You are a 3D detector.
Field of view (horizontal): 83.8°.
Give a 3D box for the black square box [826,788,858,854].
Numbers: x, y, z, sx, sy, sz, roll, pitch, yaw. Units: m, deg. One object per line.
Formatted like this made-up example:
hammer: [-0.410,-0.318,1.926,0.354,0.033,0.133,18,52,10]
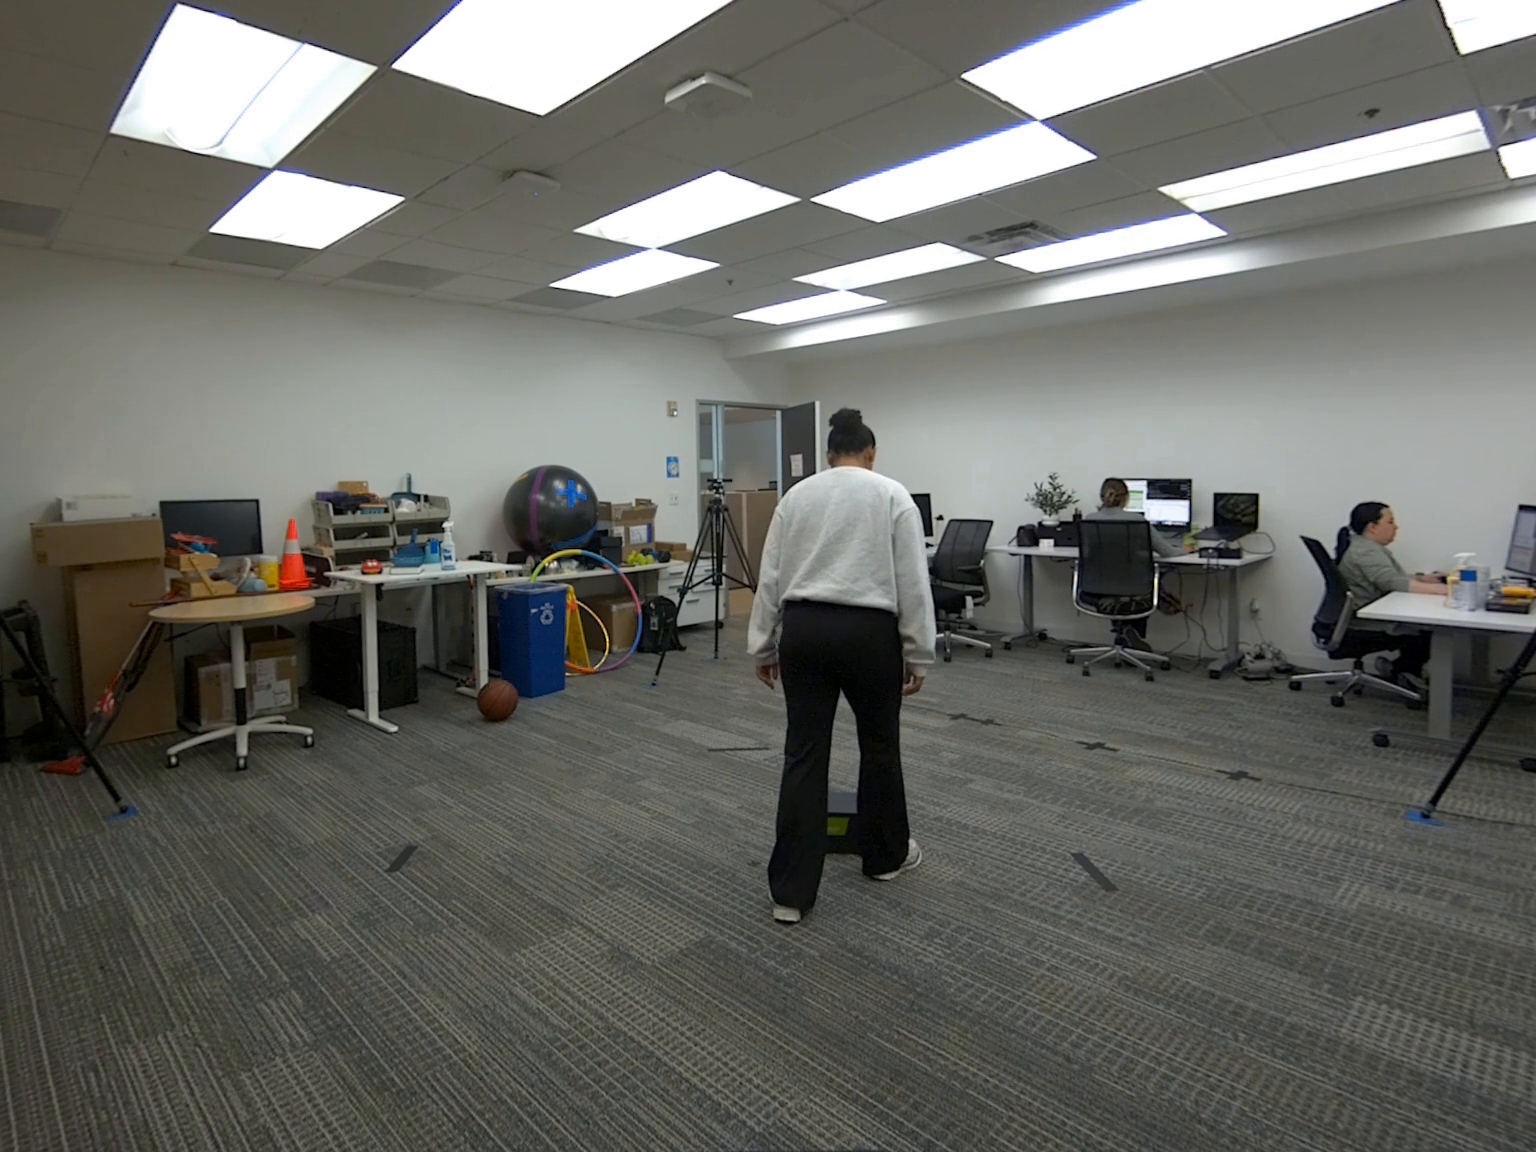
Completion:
black square box: [0.302,0.936,3.264,0.230,0.155,0.216,0,5,8]
